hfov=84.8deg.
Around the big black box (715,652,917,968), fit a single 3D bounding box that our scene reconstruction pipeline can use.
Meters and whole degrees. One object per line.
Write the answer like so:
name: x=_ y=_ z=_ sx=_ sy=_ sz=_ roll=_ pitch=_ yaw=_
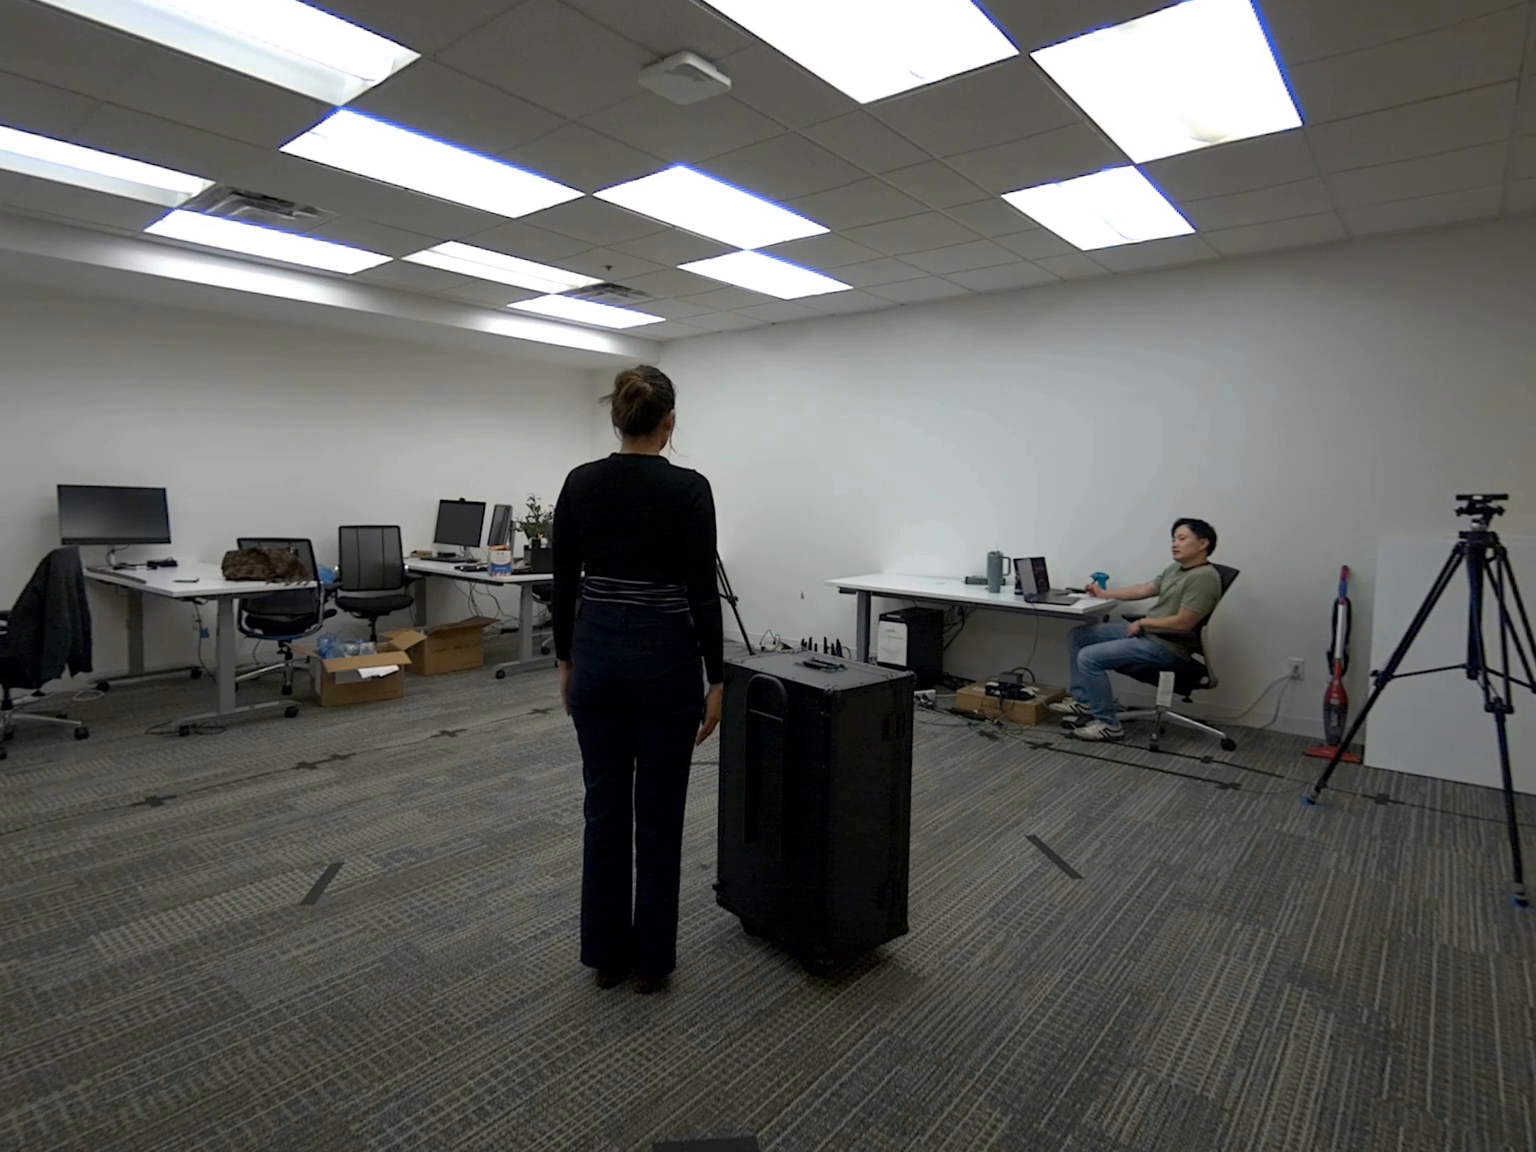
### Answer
big black box: x=0.125 y=0.696 z=2.585 sx=0.384 sy=0.858 sz=0.539 roll=-3 pitch=5 yaw=-40
